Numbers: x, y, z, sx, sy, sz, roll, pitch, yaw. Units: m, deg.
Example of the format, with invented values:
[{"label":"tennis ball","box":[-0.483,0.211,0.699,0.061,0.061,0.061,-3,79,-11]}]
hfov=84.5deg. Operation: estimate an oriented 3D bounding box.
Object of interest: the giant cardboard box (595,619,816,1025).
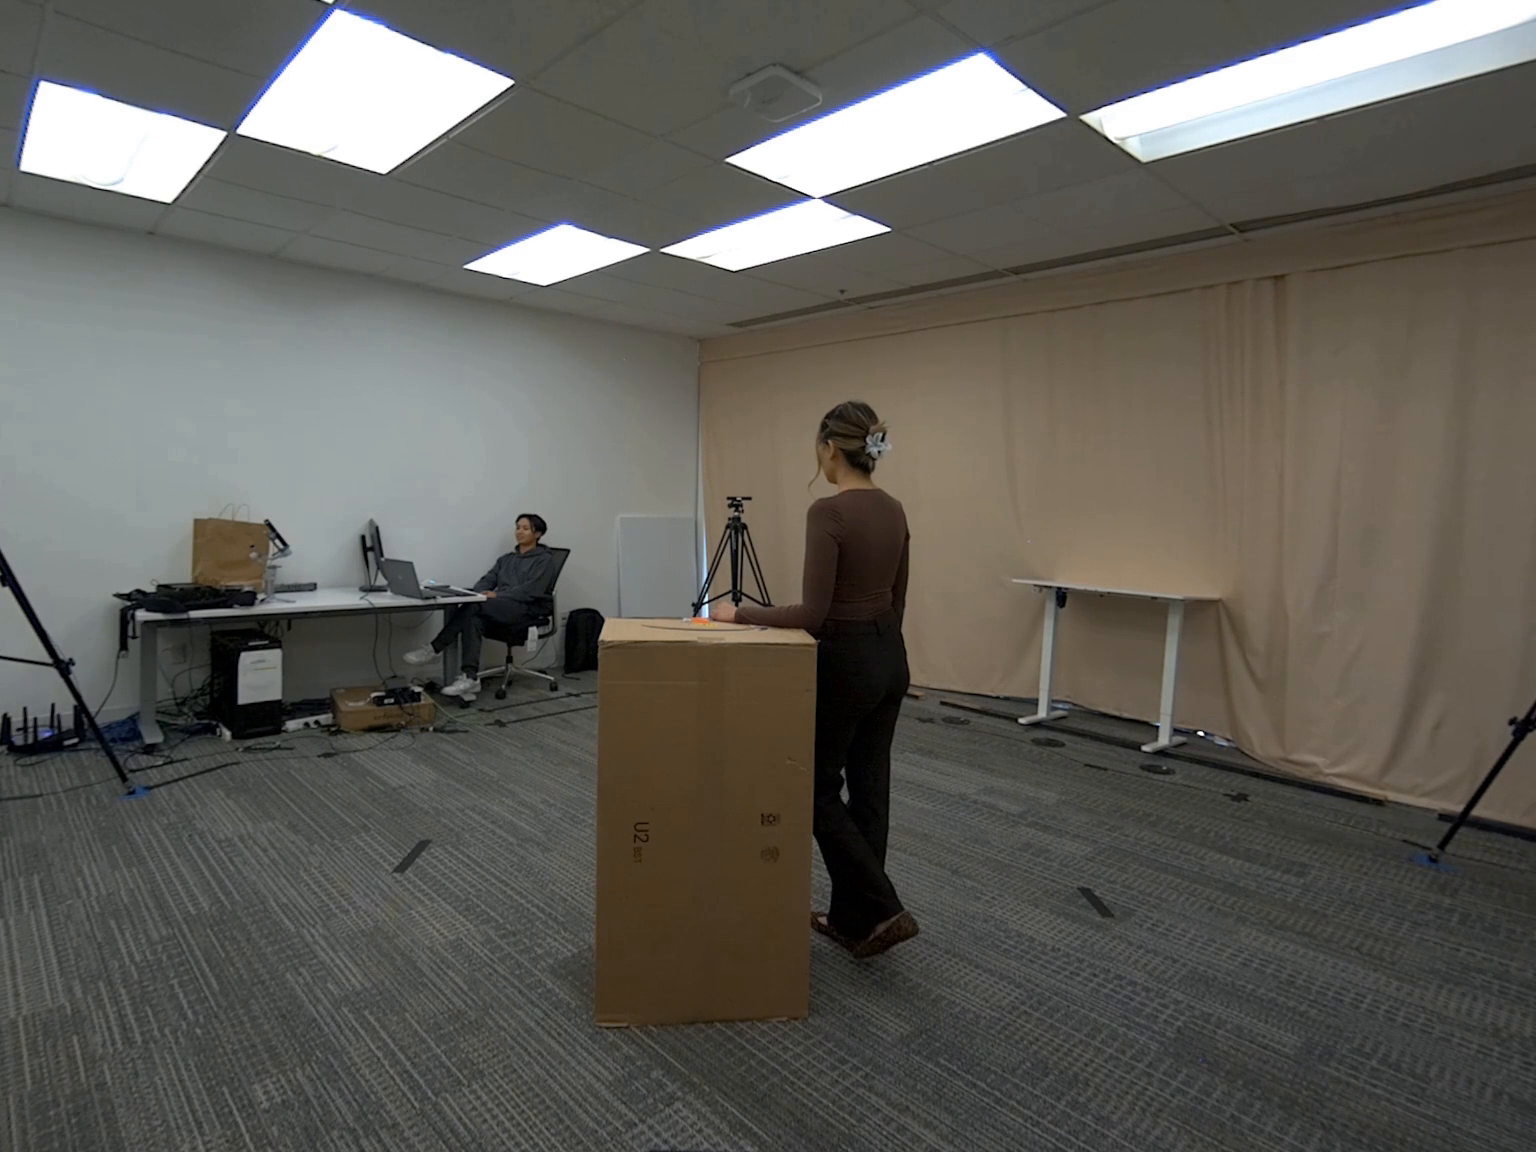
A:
[{"label":"giant cardboard box","box":[-0.201,0.662,2.412,0.581,1.024,0.450,1,4,-7]}]
